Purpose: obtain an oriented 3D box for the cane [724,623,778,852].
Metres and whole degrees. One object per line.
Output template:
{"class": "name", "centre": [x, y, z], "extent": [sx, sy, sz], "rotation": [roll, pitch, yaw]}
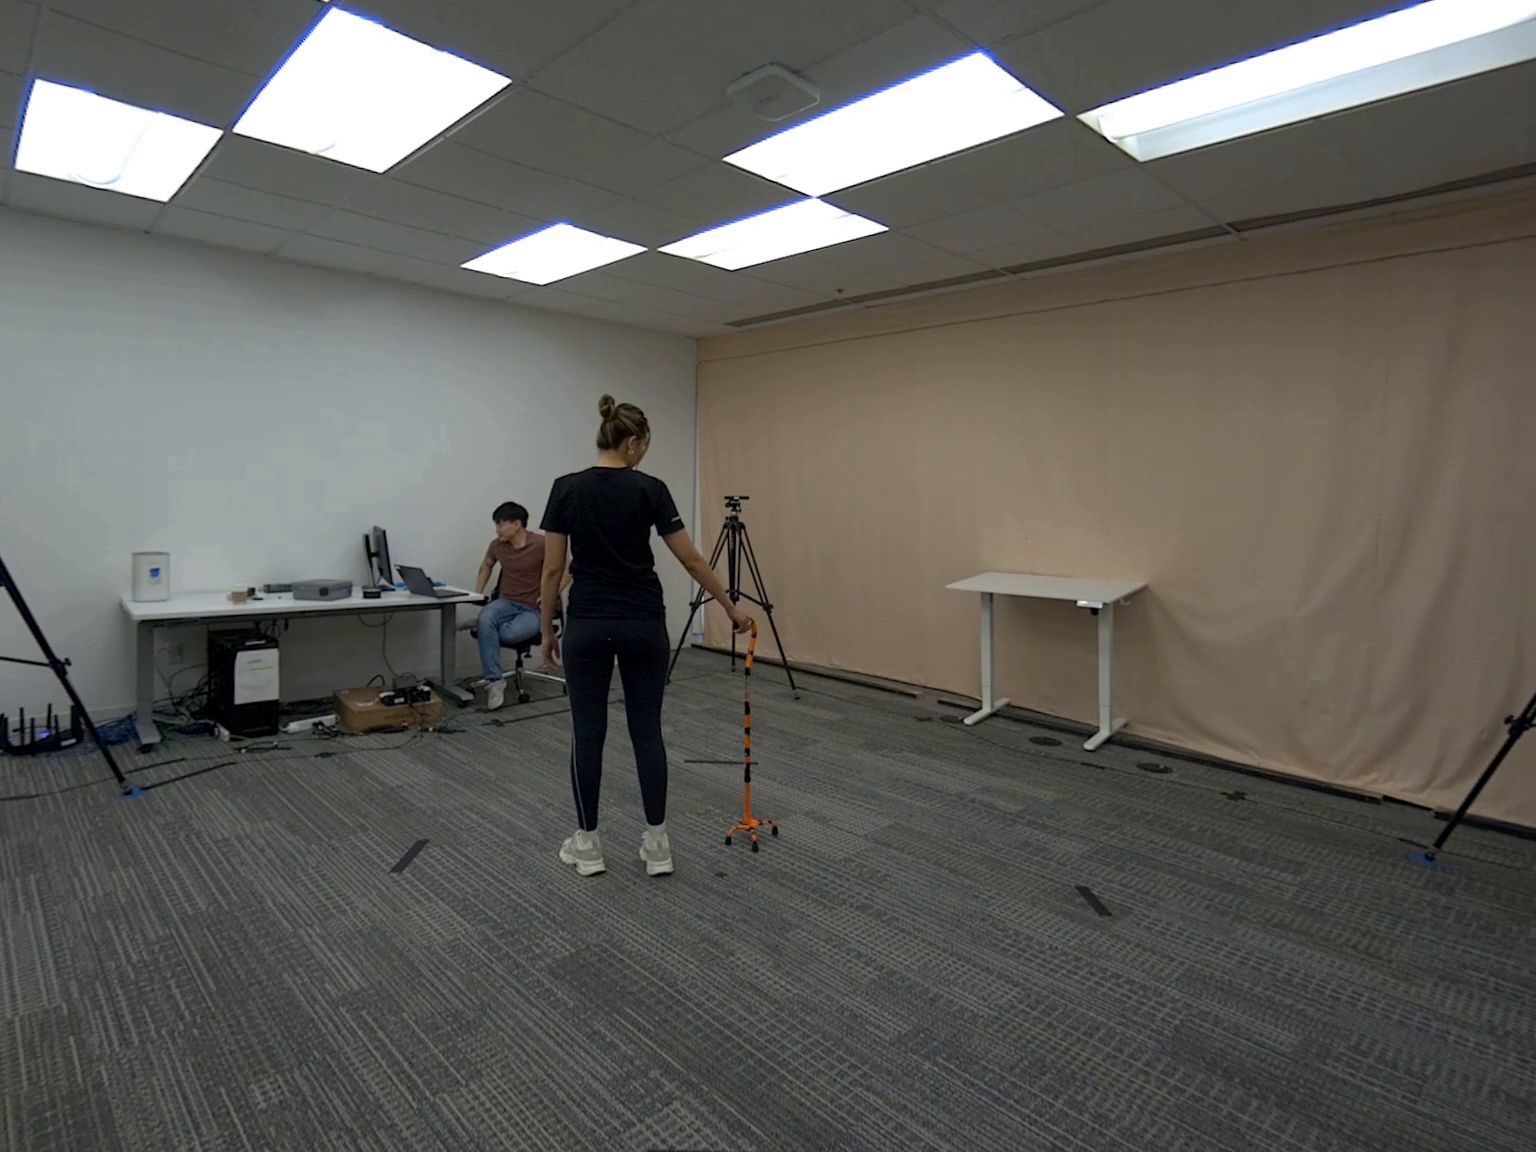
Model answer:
{"class": "cane", "centre": [-0.075, 0.621, 3.393], "extent": [0.154, 0.904, 0.203], "rotation": [3, 6, 23]}
